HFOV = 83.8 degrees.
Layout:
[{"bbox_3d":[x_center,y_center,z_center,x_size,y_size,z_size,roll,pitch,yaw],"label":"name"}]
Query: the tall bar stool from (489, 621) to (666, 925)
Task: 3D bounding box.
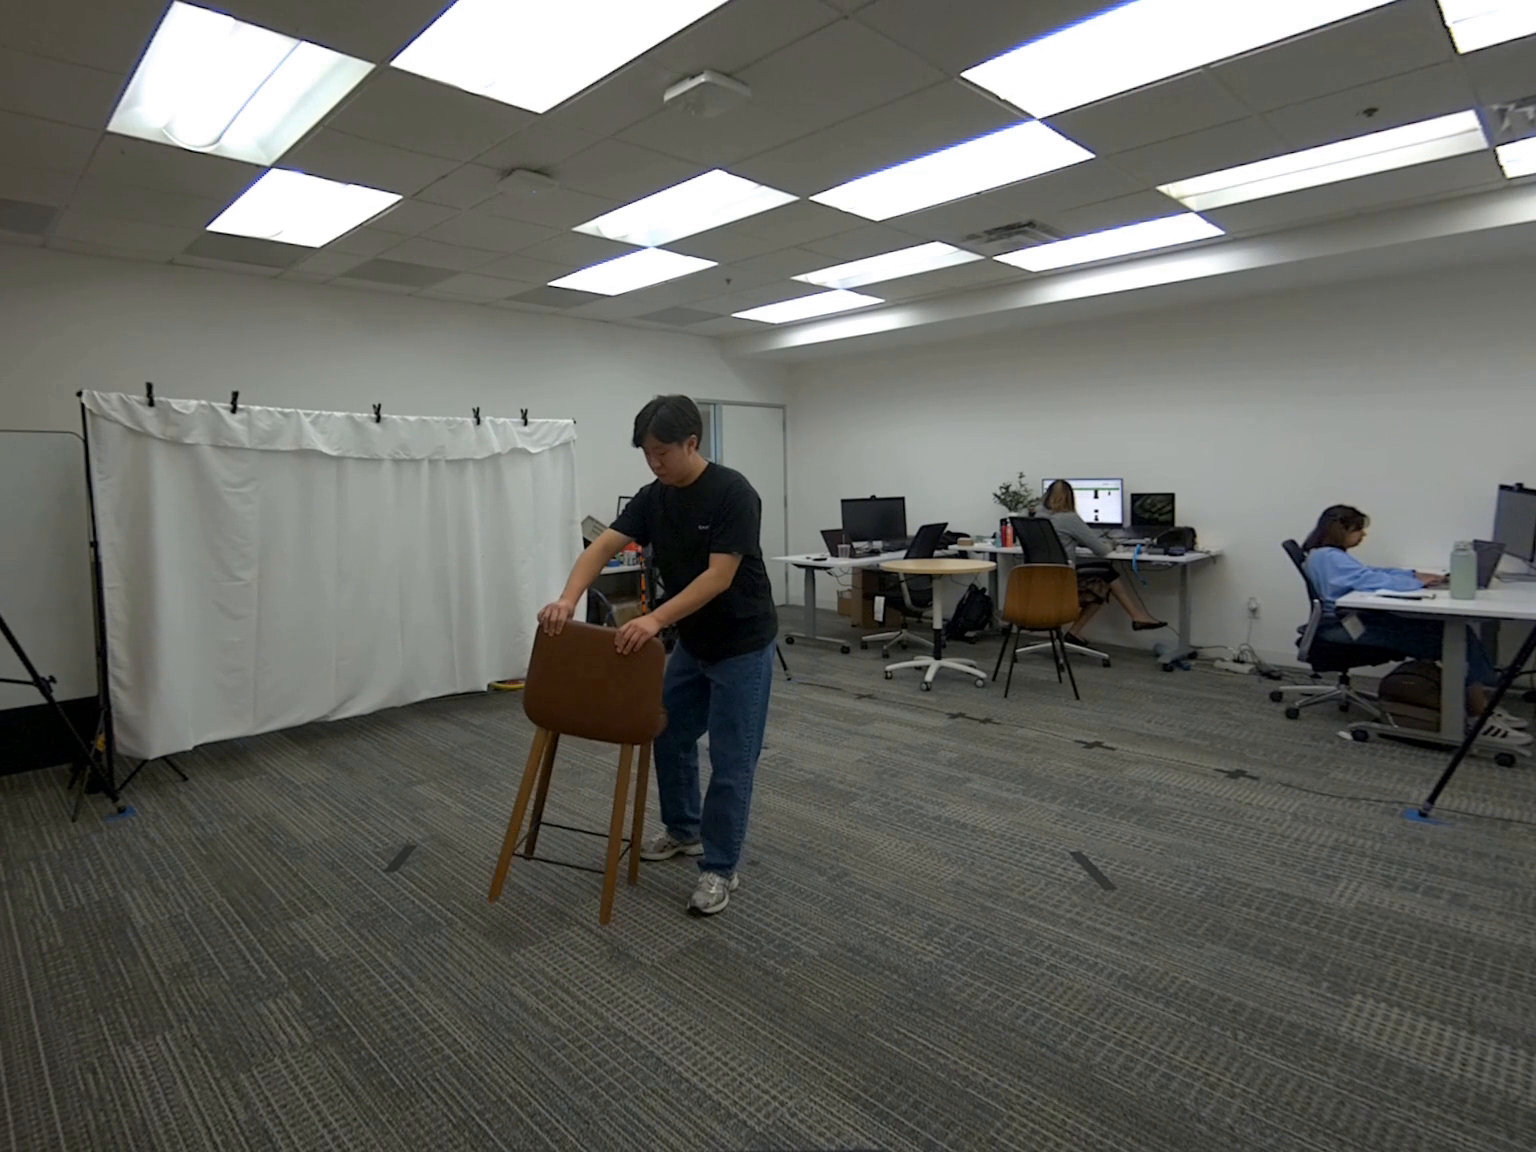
[{"bbox_3d":[-0.594,0.601,2.800,0.458,0.892,0.465,9,-3,2],"label":"tall bar stool"}]
